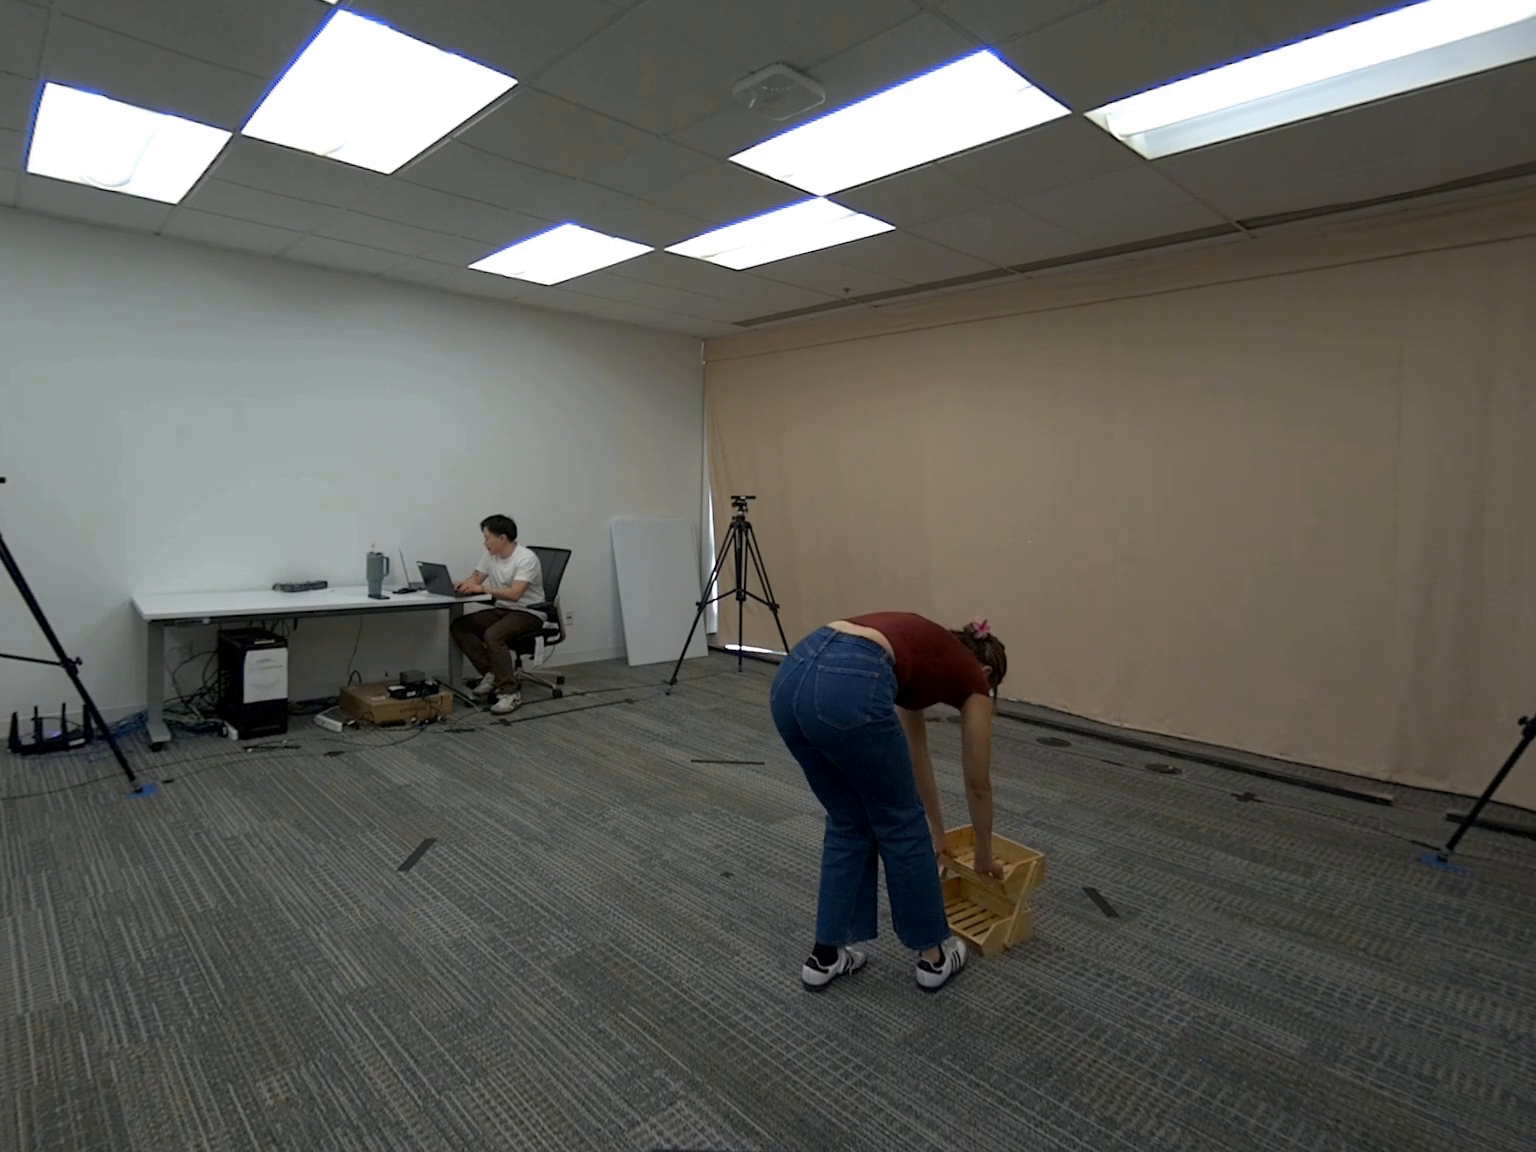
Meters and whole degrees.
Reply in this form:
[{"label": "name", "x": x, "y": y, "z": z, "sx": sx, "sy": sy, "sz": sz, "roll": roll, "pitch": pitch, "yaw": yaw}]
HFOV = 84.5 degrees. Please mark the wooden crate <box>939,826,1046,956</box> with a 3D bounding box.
[{"label": "wooden crate", "x": 0.678, "y": 1.015, "z": 2.772, "sx": 0.295, "sy": 0.272, "sz": 0.332, "roll": -1, "pitch": 5, "yaw": -36}]
